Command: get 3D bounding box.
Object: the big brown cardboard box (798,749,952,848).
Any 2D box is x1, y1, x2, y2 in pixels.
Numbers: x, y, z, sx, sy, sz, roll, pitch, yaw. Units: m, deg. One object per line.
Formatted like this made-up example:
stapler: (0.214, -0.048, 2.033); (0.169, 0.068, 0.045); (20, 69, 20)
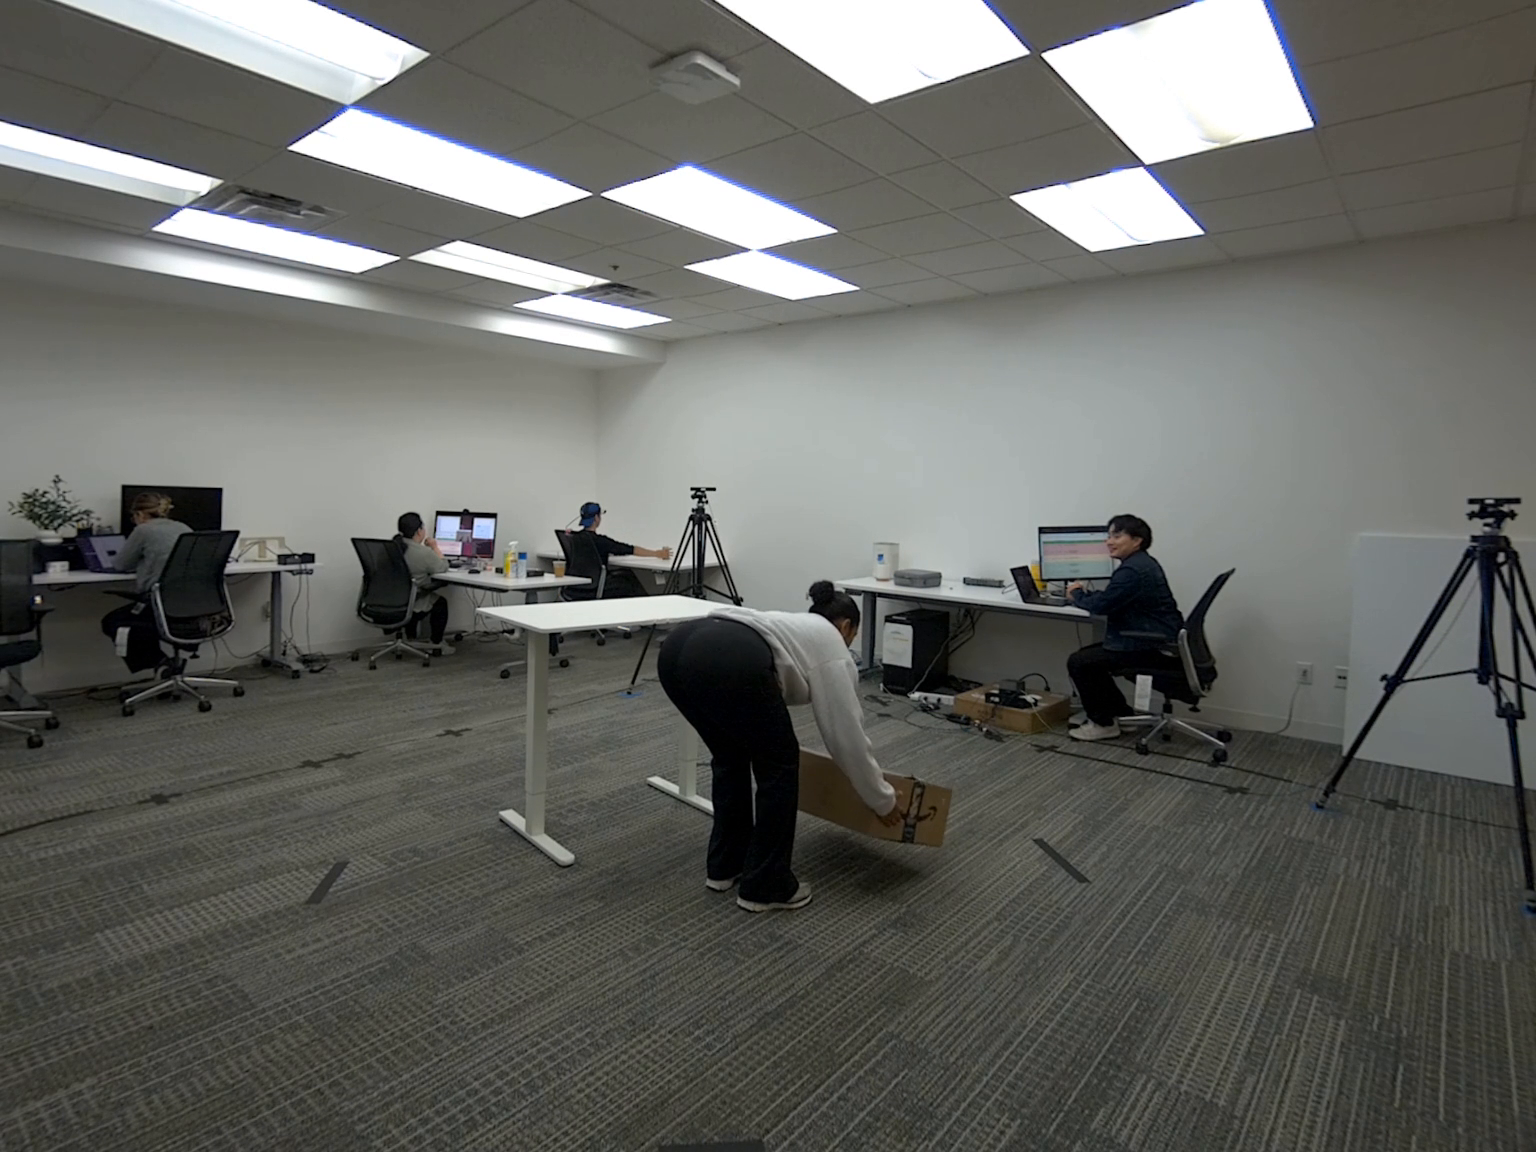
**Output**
big brown cardboard box: (0.319, 0.806, 3.209); (0.401, 0.235, 0.608); (21, -11, -39)
